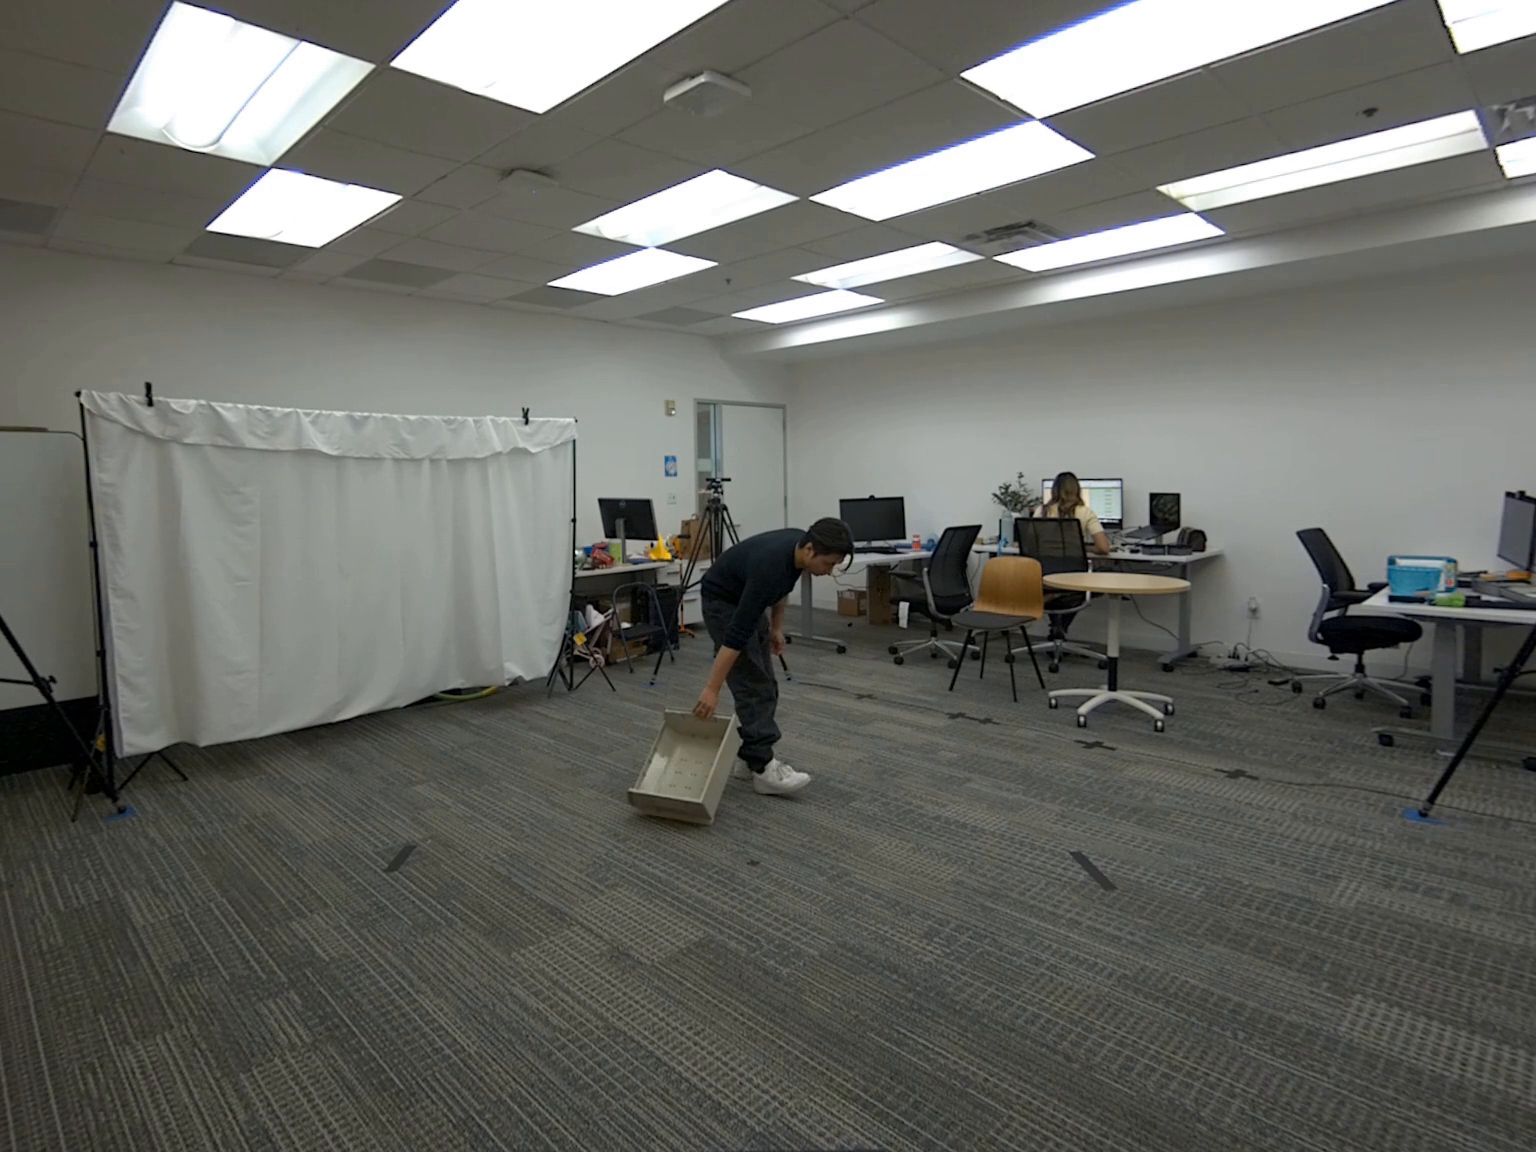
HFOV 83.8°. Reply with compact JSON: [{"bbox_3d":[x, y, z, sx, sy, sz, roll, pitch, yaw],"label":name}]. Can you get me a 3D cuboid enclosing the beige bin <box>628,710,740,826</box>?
[{"bbox_3d":[-0.352,0.793,3.601,0.386,0.182,0.427,2,43,24],"label":"beige bin"}]
